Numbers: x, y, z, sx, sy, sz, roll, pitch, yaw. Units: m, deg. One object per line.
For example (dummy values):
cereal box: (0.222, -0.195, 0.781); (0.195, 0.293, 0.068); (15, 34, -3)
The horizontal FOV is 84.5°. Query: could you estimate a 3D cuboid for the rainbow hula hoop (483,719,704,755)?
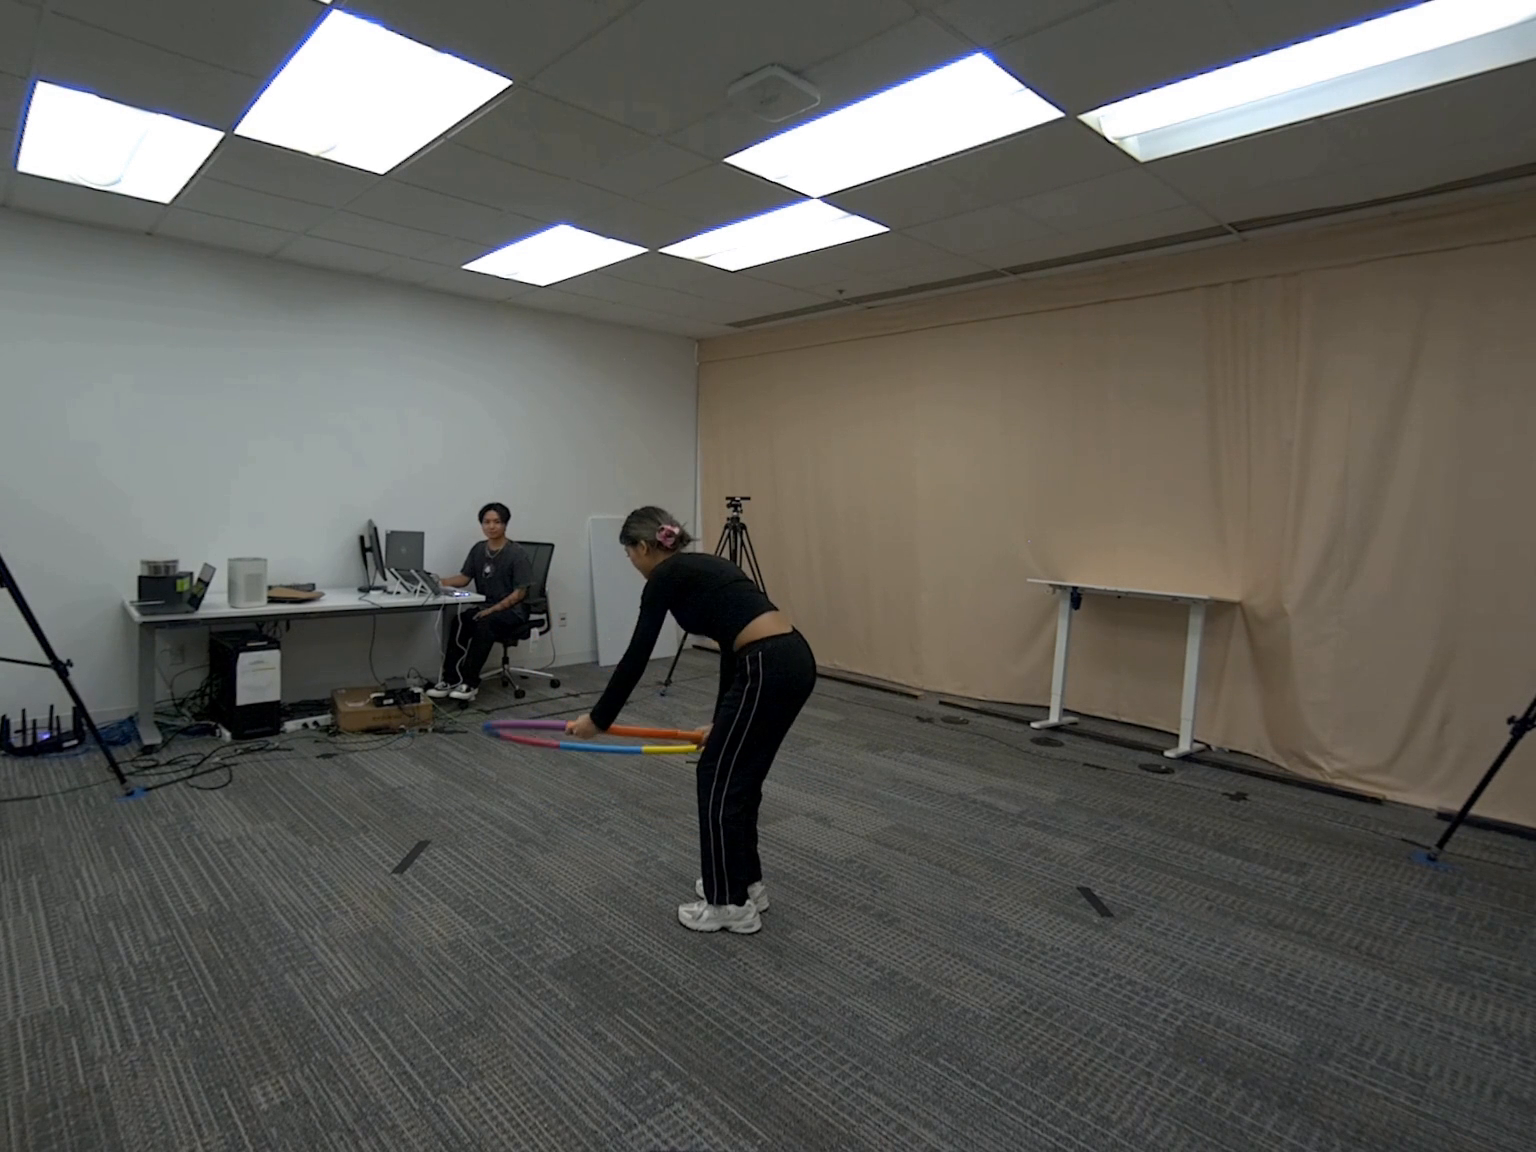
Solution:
rainbow hula hoop: (-0.608, 0.625, 3.267); (0.979, 0.036, 0.967); (4, -16, 0)
